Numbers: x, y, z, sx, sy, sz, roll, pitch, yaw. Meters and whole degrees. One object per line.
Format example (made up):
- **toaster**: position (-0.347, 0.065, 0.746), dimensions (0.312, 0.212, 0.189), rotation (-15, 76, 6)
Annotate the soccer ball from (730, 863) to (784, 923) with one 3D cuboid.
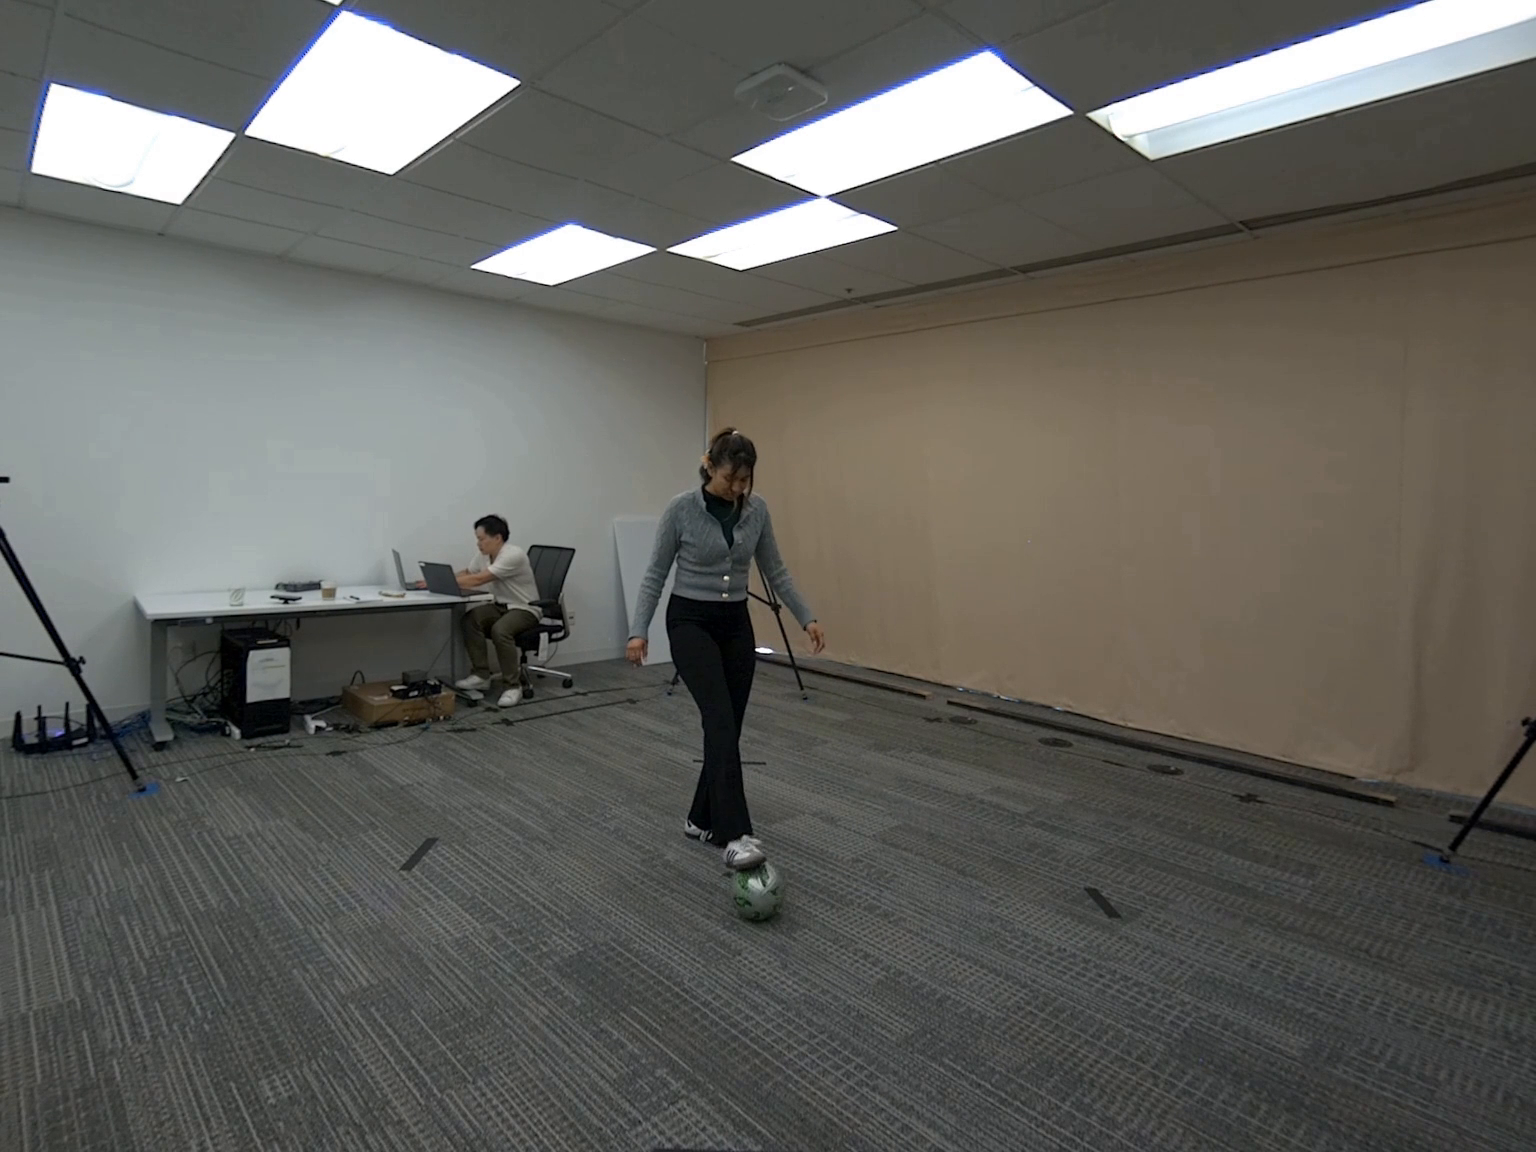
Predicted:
- **soccer ball**: position (-0.060, 1.039, 2.818), dimensions (0.187, 0.187, 0.188), rotation (1, 4, -1)
